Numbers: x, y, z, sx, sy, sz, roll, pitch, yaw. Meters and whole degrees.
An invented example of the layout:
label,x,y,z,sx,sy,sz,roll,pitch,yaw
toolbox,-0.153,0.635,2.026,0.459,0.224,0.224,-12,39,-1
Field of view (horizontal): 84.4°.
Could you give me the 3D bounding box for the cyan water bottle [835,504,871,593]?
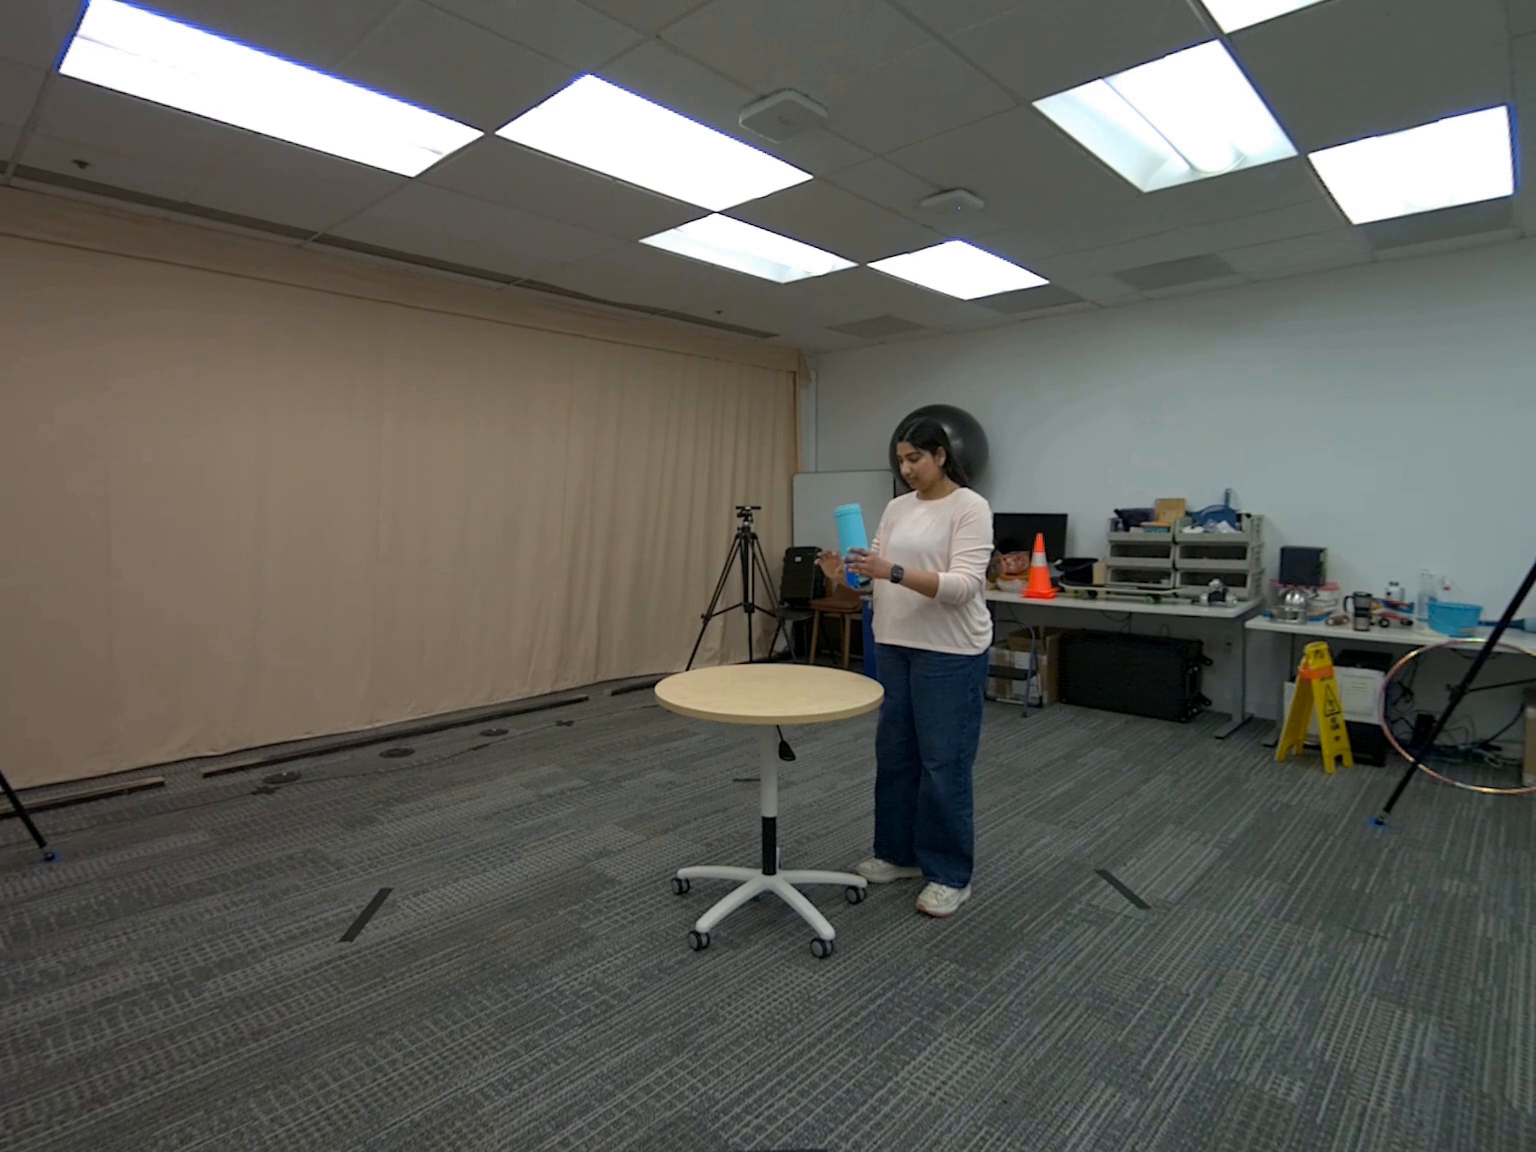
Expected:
label,x,y,z,sx,sy,sz,roll,pitch,yaw
cyan water bottle,0.296,-0.089,2.794,0.092,0.284,0.092,-8,-4,-2
